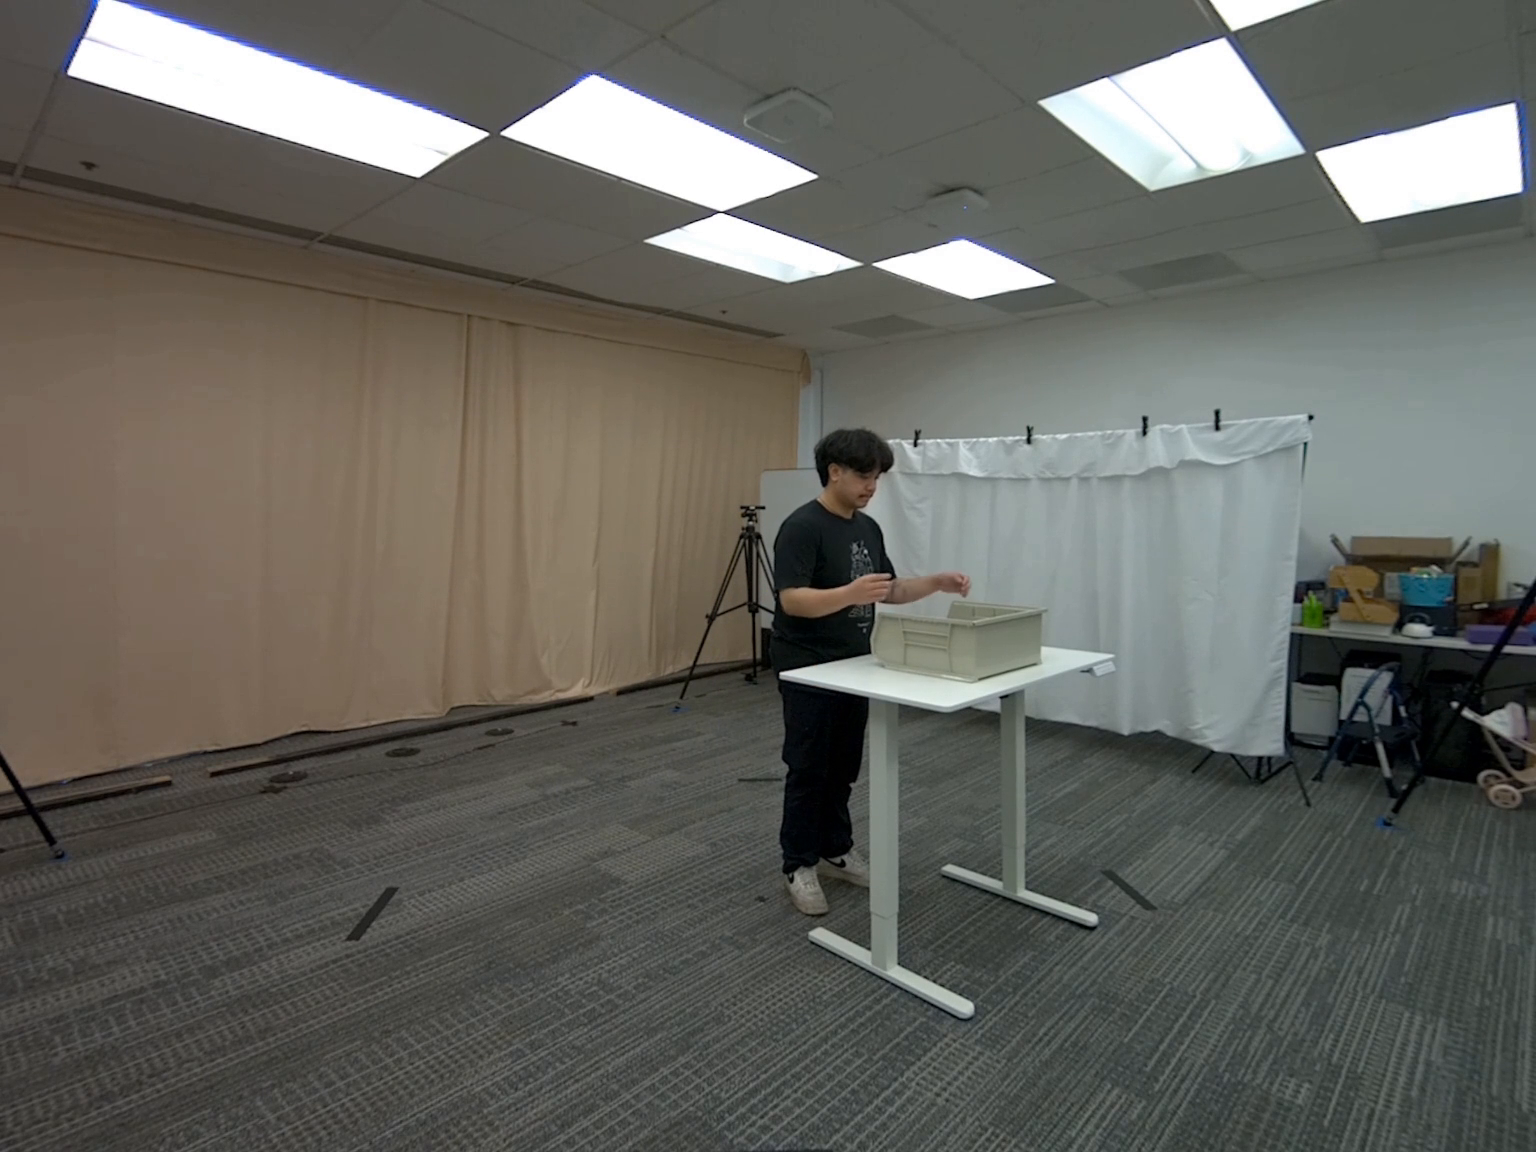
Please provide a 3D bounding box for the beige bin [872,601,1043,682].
[{"bbox_3d":[0.603,0.198,2.674,0.409,0.188,0.390,-4,6,-42],"label":"beige bin"}]
